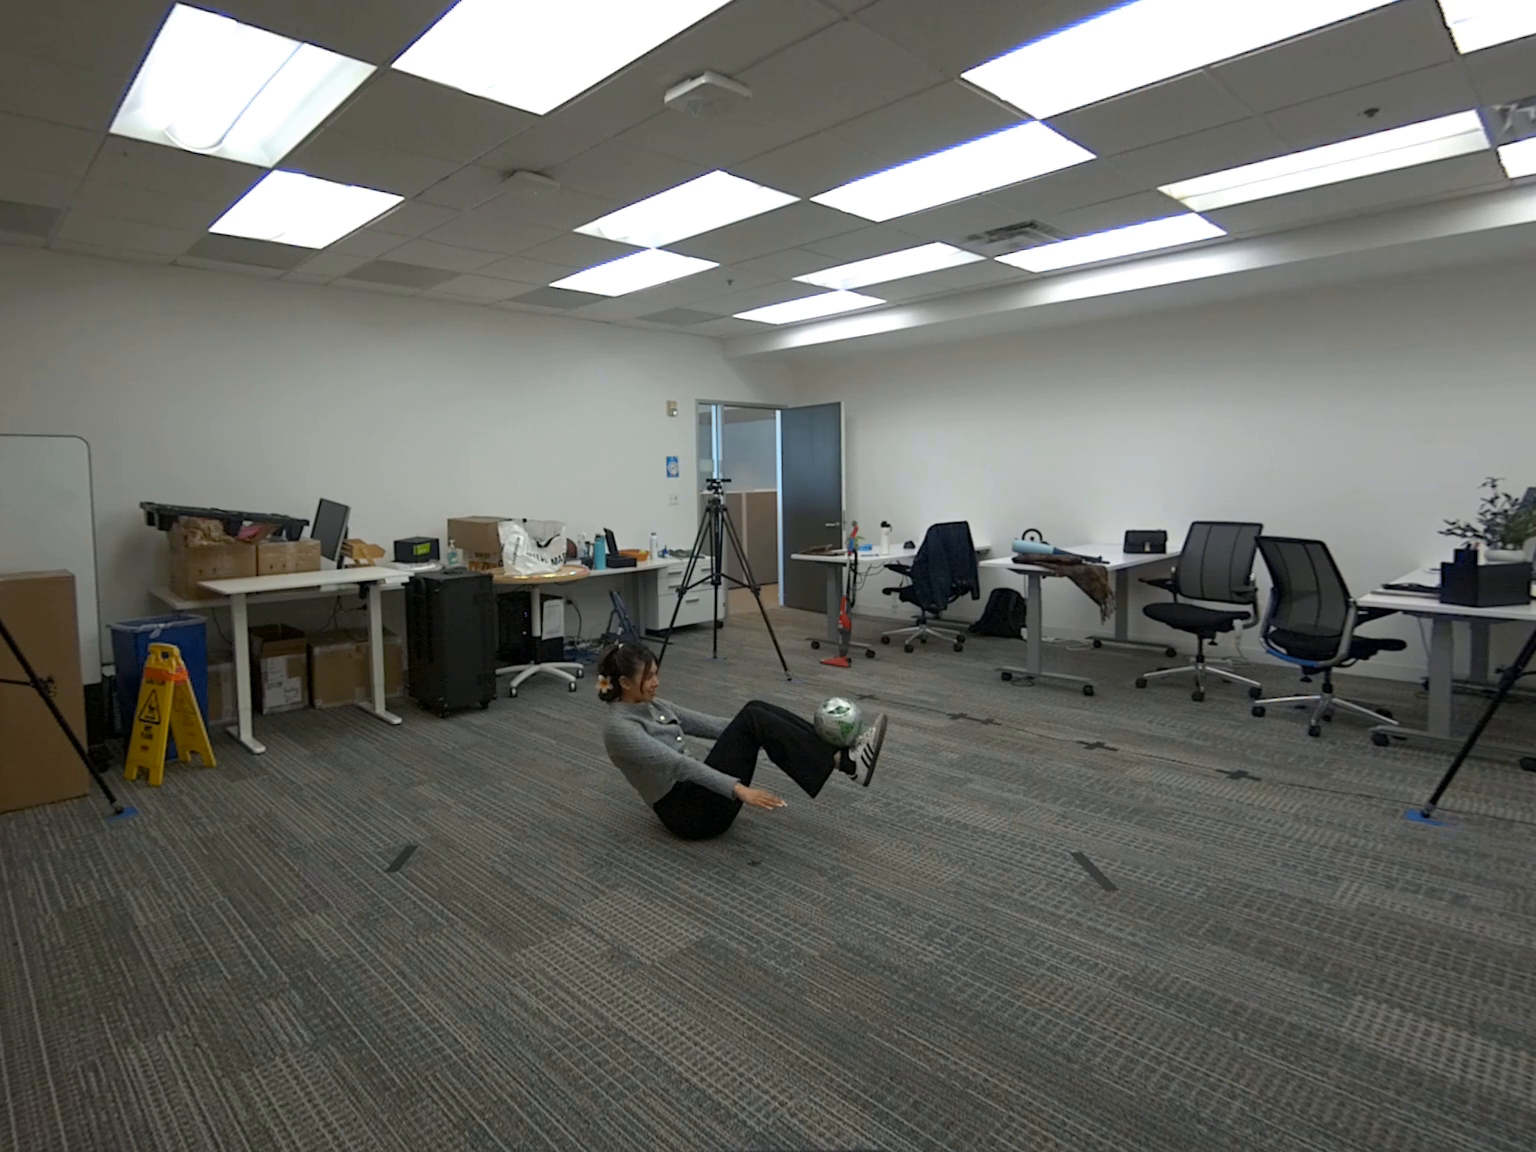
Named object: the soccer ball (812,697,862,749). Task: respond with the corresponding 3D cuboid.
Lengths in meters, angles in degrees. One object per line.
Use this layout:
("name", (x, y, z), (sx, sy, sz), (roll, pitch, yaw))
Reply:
("soccer ball", (0.270, 0.560, 3.259), (0.187, 0.187, 0.188), (-1, 5, -2))
